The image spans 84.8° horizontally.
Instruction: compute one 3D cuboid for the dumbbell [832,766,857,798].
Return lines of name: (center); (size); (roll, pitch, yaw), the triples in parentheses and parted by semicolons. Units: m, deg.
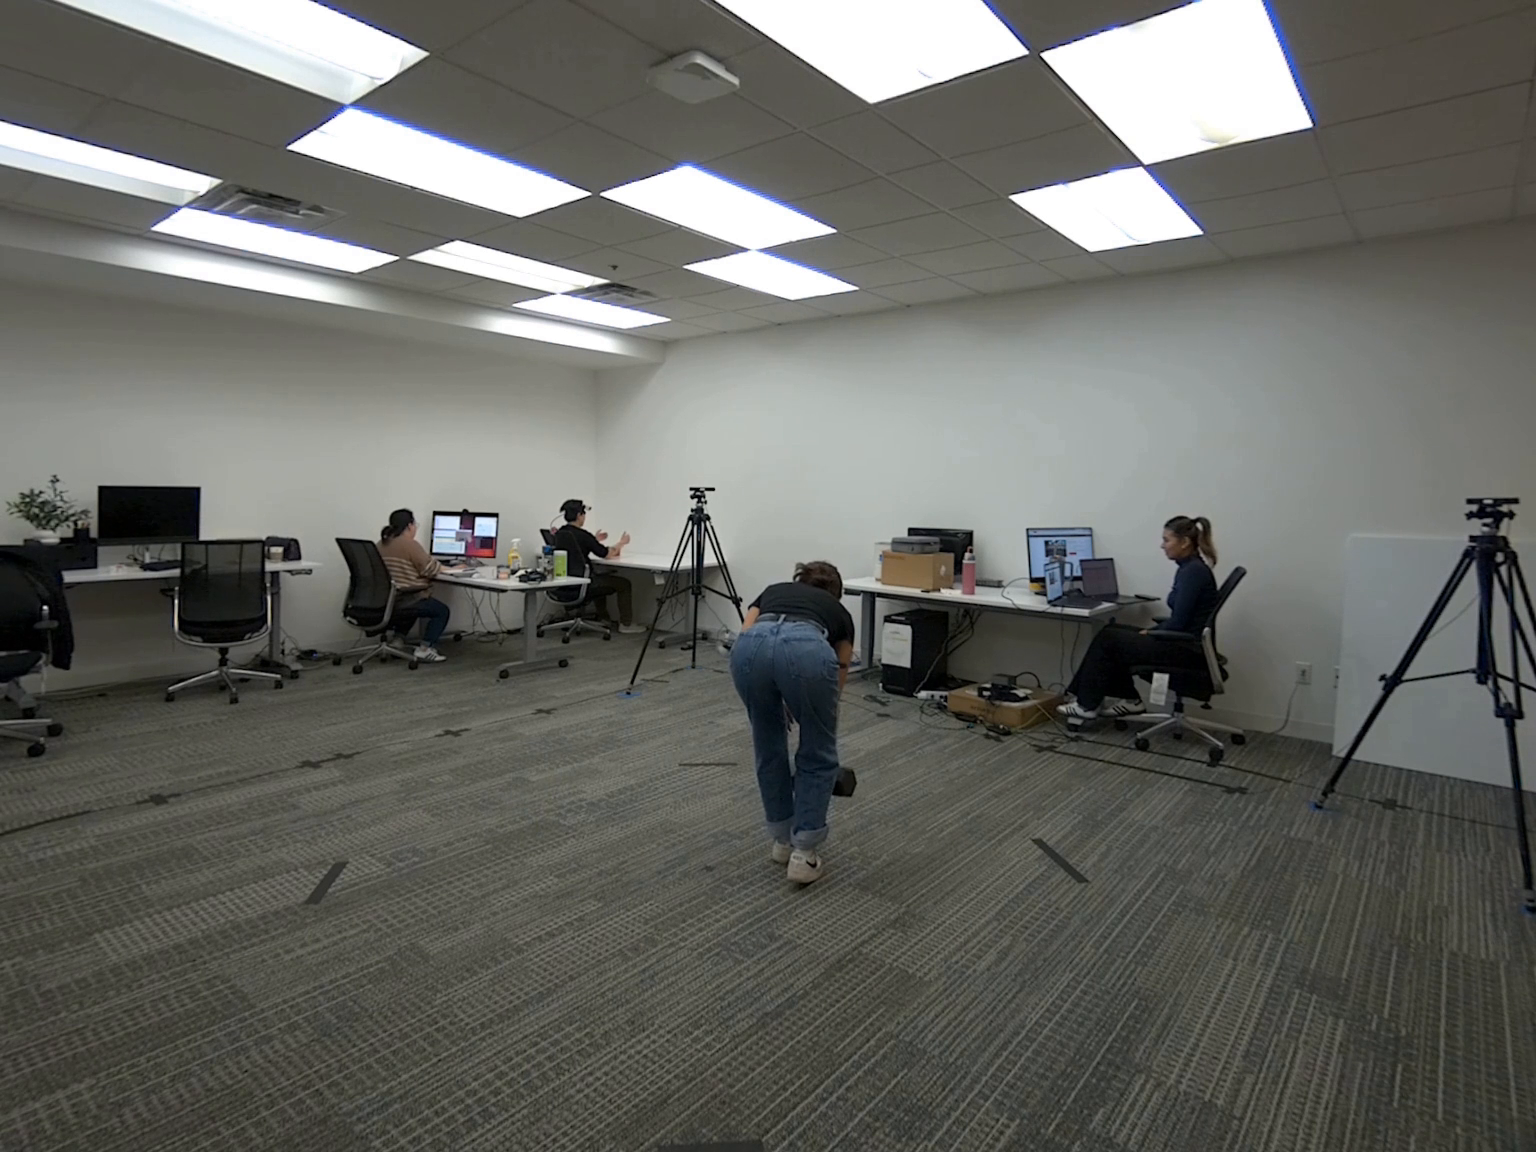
dumbbell: (0.182, 0.779, 3.276); (0.302, 0.105, 0.124); (-5, 42, 41)
